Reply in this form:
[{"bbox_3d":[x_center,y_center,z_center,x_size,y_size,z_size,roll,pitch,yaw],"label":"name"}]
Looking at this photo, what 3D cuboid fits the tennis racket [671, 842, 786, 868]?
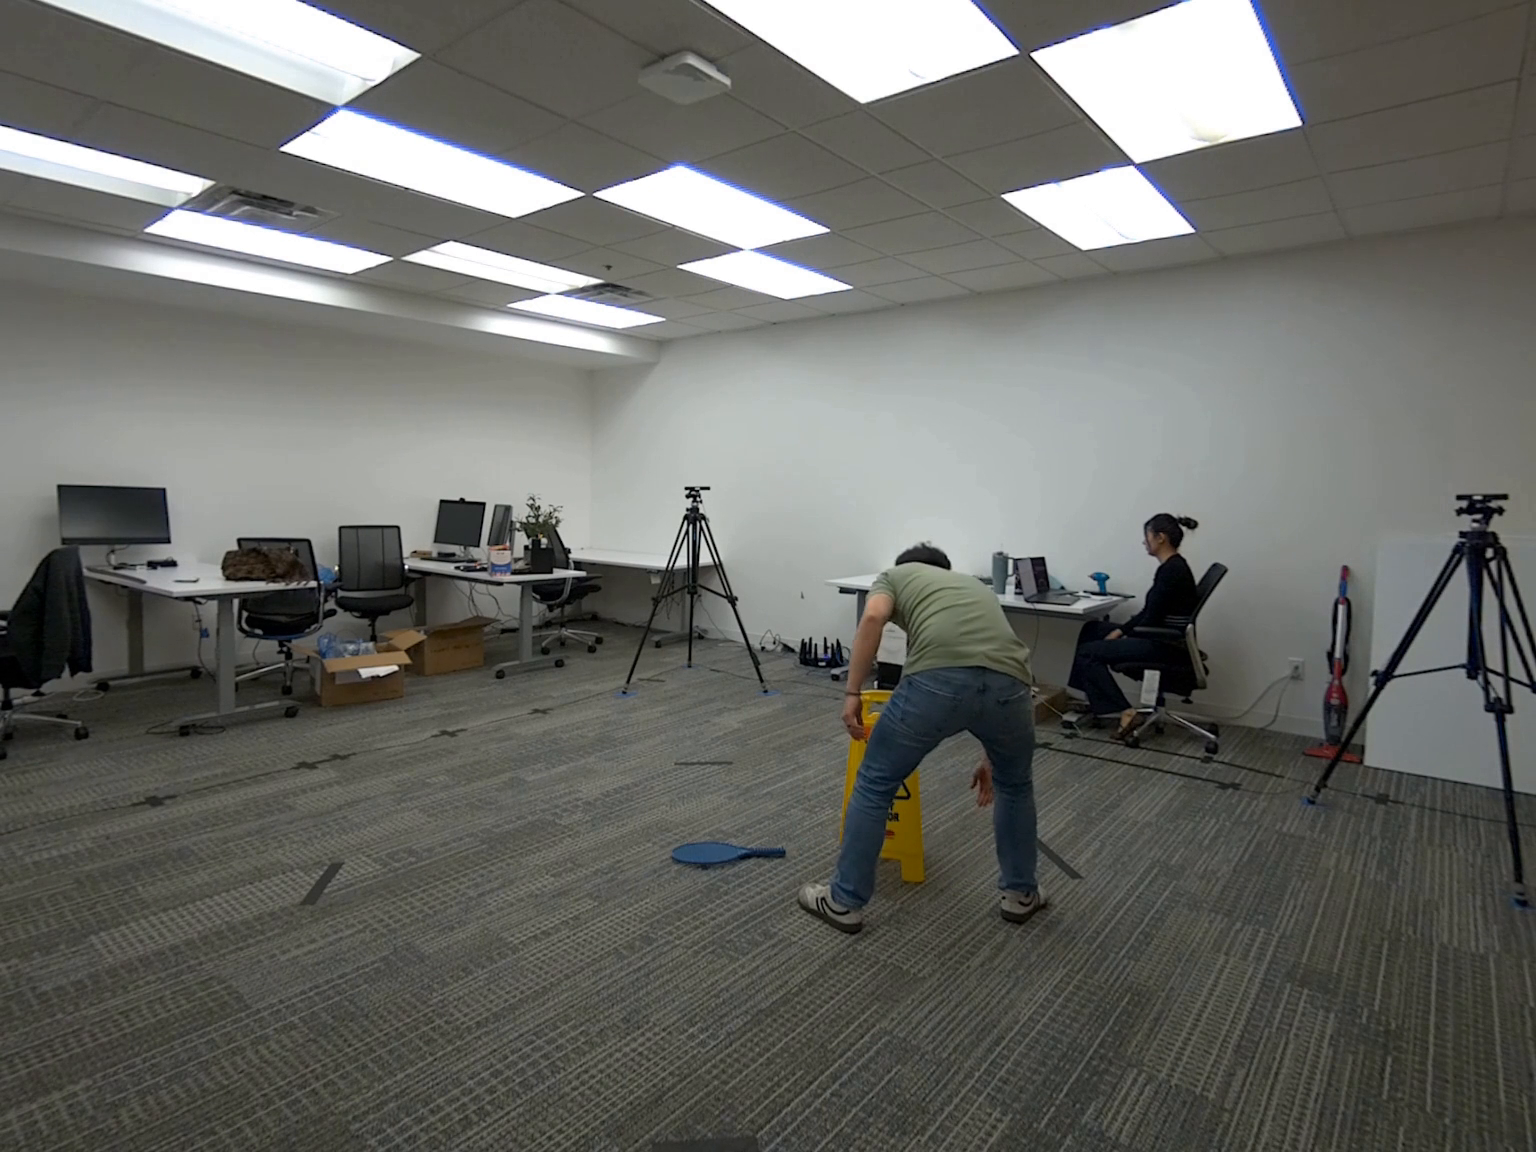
[{"bbox_3d":[-0.141,1.038,3.207,0.431,0.032,0.215,0,4,-5],"label":"tennis racket"}]
